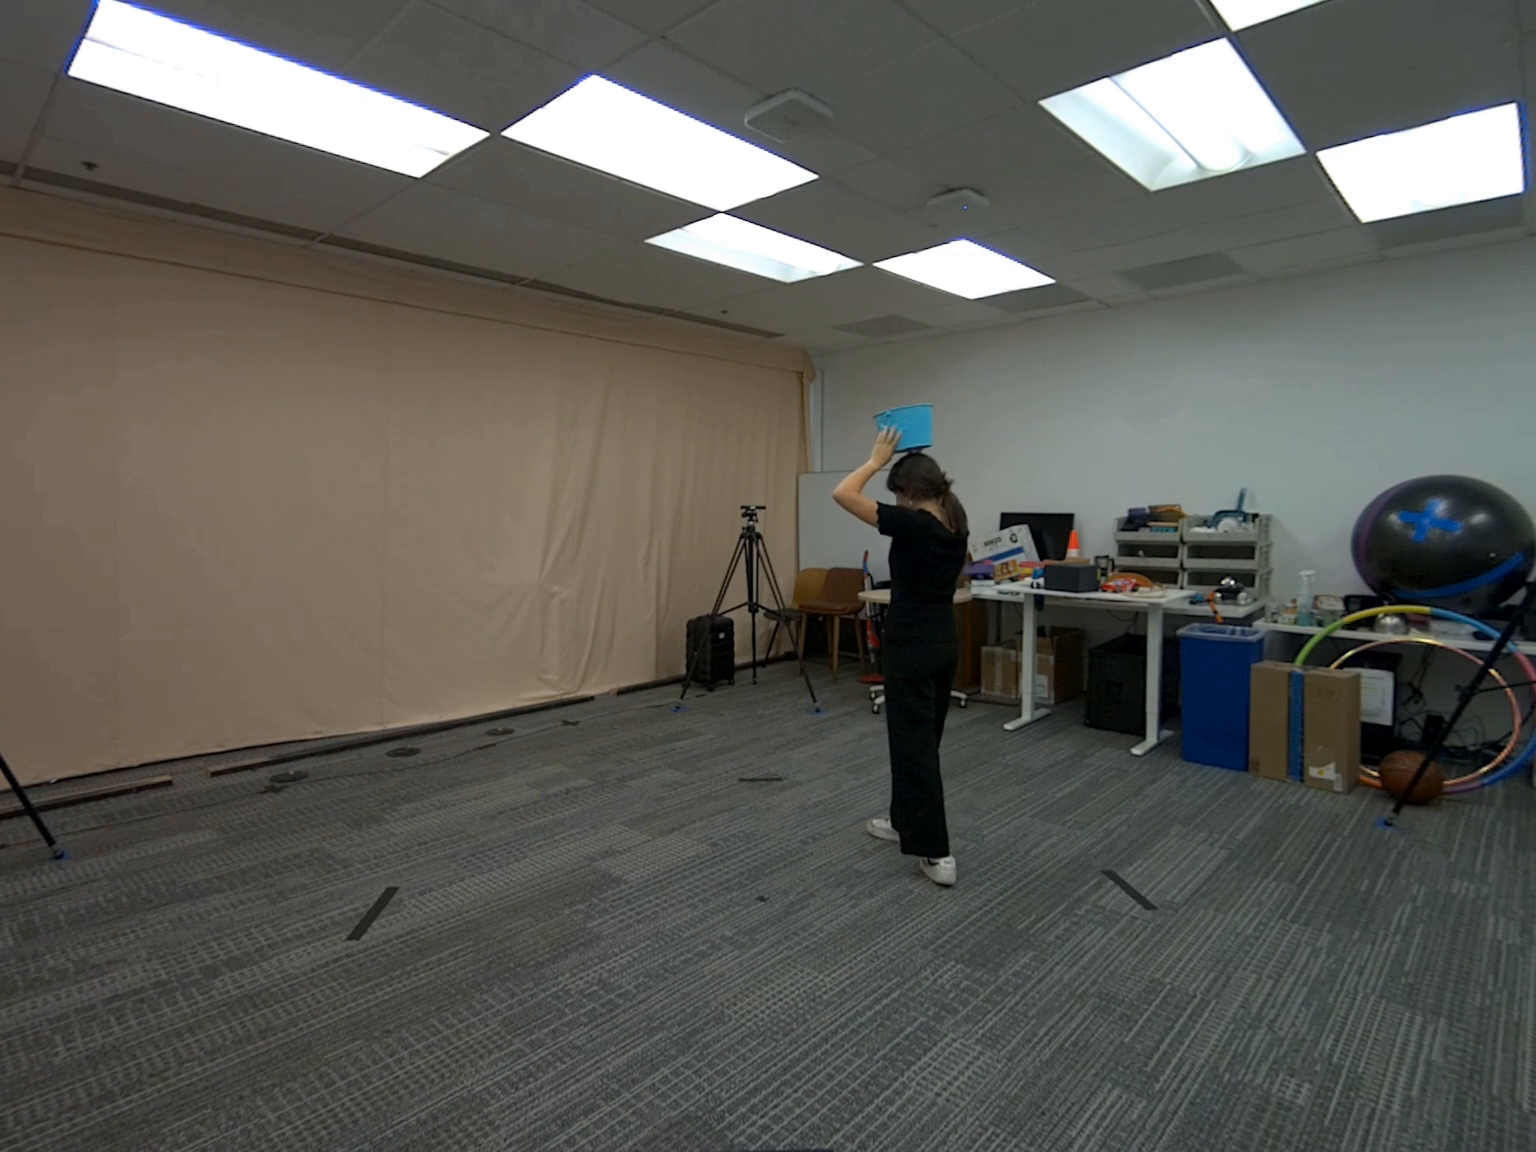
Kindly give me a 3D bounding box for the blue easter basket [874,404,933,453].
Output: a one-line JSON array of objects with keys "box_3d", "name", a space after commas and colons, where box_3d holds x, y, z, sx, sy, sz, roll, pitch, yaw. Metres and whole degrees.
[{"box_3d": [0.551, -0.567, 3.295, 0.243, 0.155, 0.244, -9, 3, -1], "name": "blue easter basket"}]
